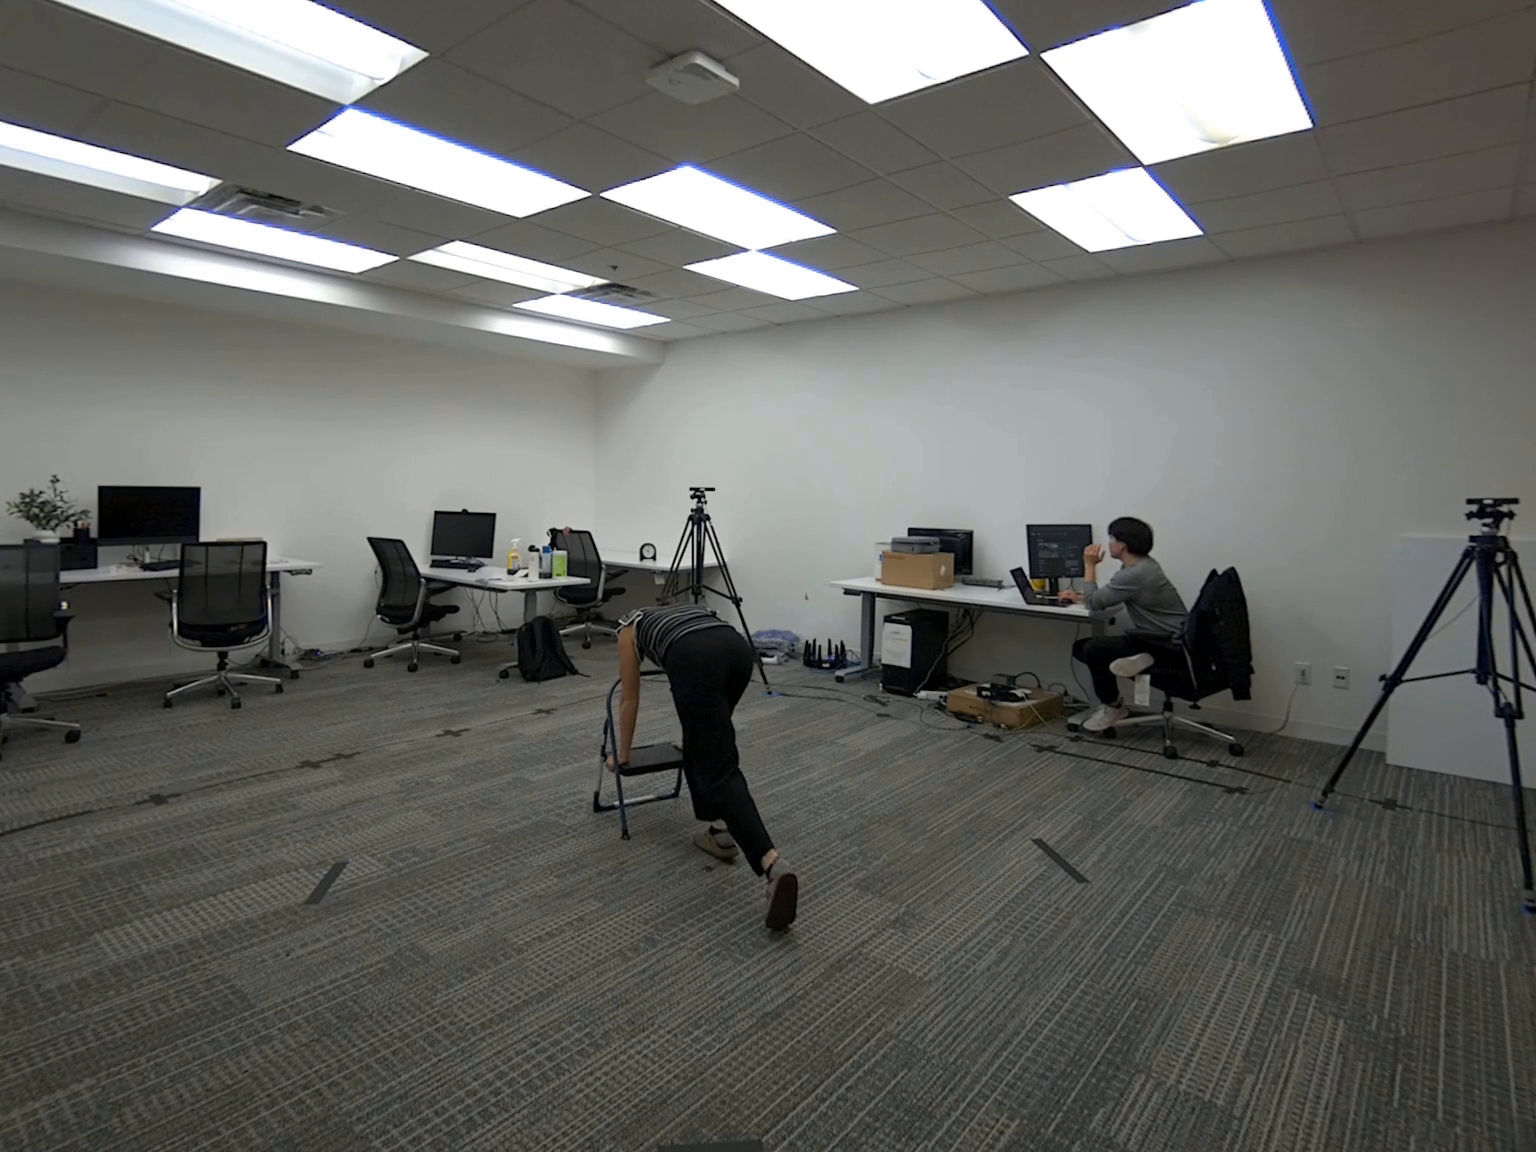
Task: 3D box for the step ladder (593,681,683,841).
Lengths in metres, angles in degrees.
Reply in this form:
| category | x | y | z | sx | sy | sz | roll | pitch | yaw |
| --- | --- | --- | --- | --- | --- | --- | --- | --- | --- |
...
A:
| category | x | y | z | sx | sy | sz | roll | pitch | yaw |
| --- | --- | --- | --- | --- | --- | --- | --- | --- | --- |
| step ladder | -0.497 | 0.714 | 3.593 | 0.418 | 0.604 | 0.360 | -1 | 4 | -33 |
